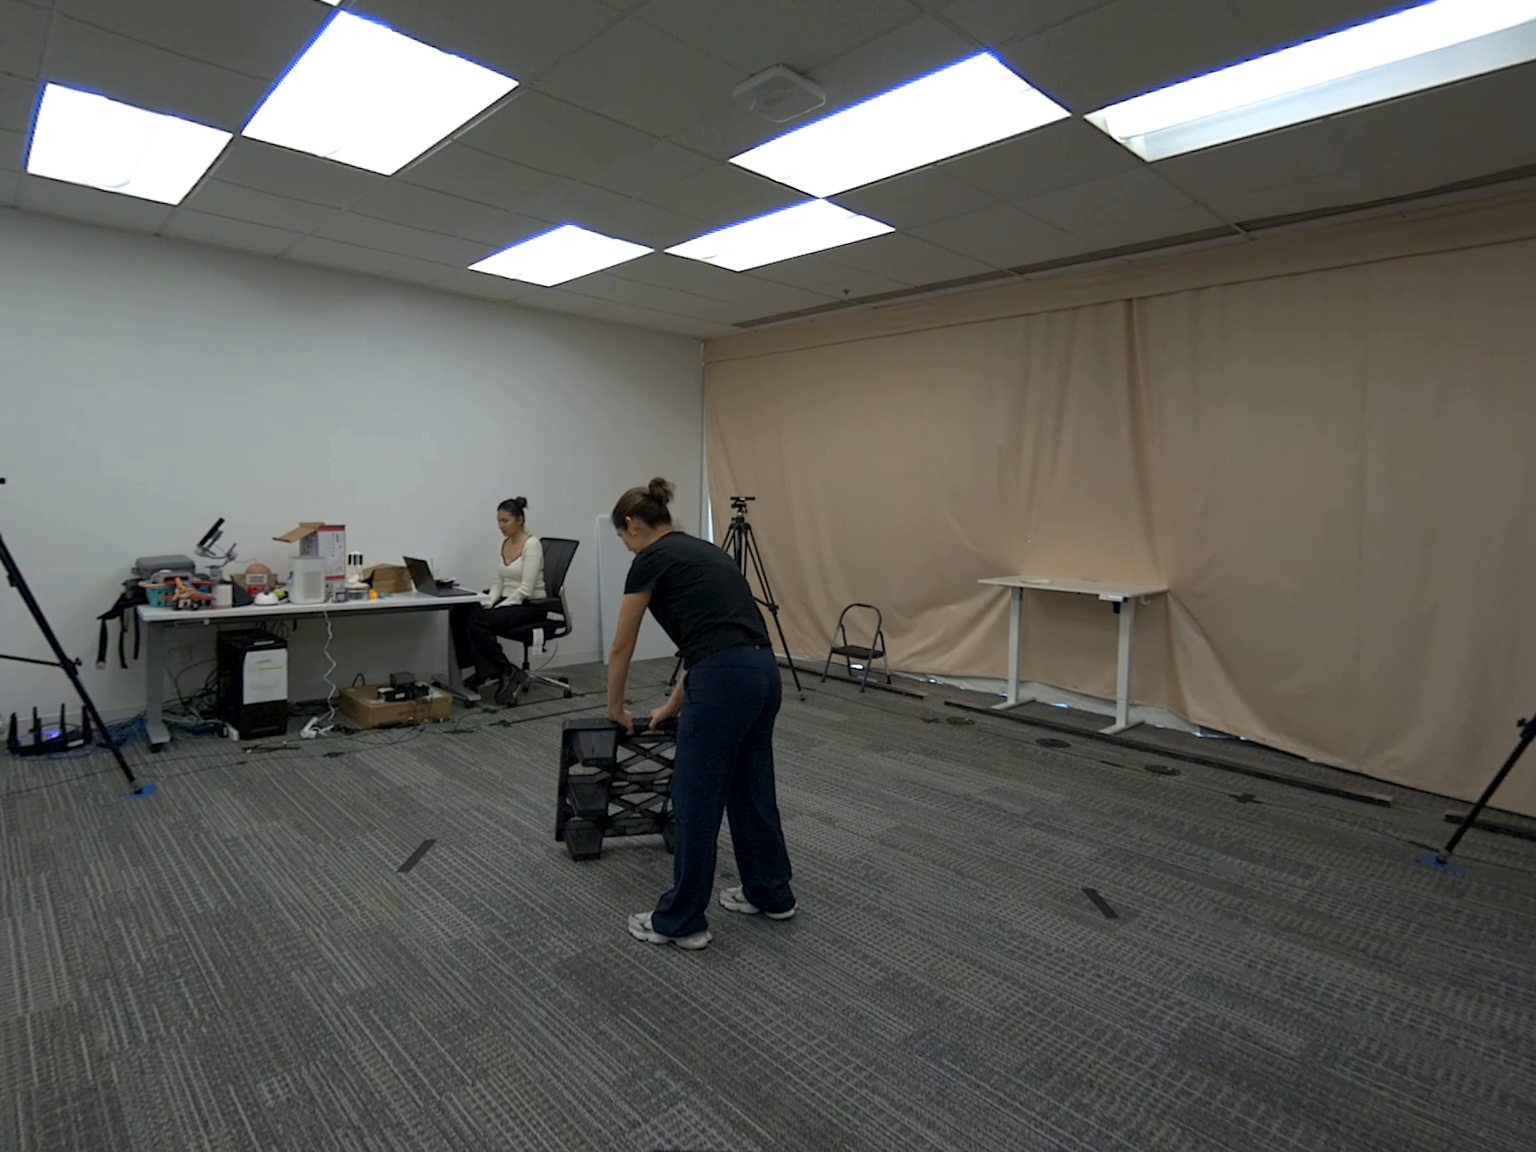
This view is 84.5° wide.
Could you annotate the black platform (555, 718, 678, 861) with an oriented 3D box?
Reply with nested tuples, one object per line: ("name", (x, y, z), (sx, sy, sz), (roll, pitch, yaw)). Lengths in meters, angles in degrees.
("black platform", (-0.456, 0.791, 3.041), (0.598, 0.793, 0.147), (1, 46, -15))
